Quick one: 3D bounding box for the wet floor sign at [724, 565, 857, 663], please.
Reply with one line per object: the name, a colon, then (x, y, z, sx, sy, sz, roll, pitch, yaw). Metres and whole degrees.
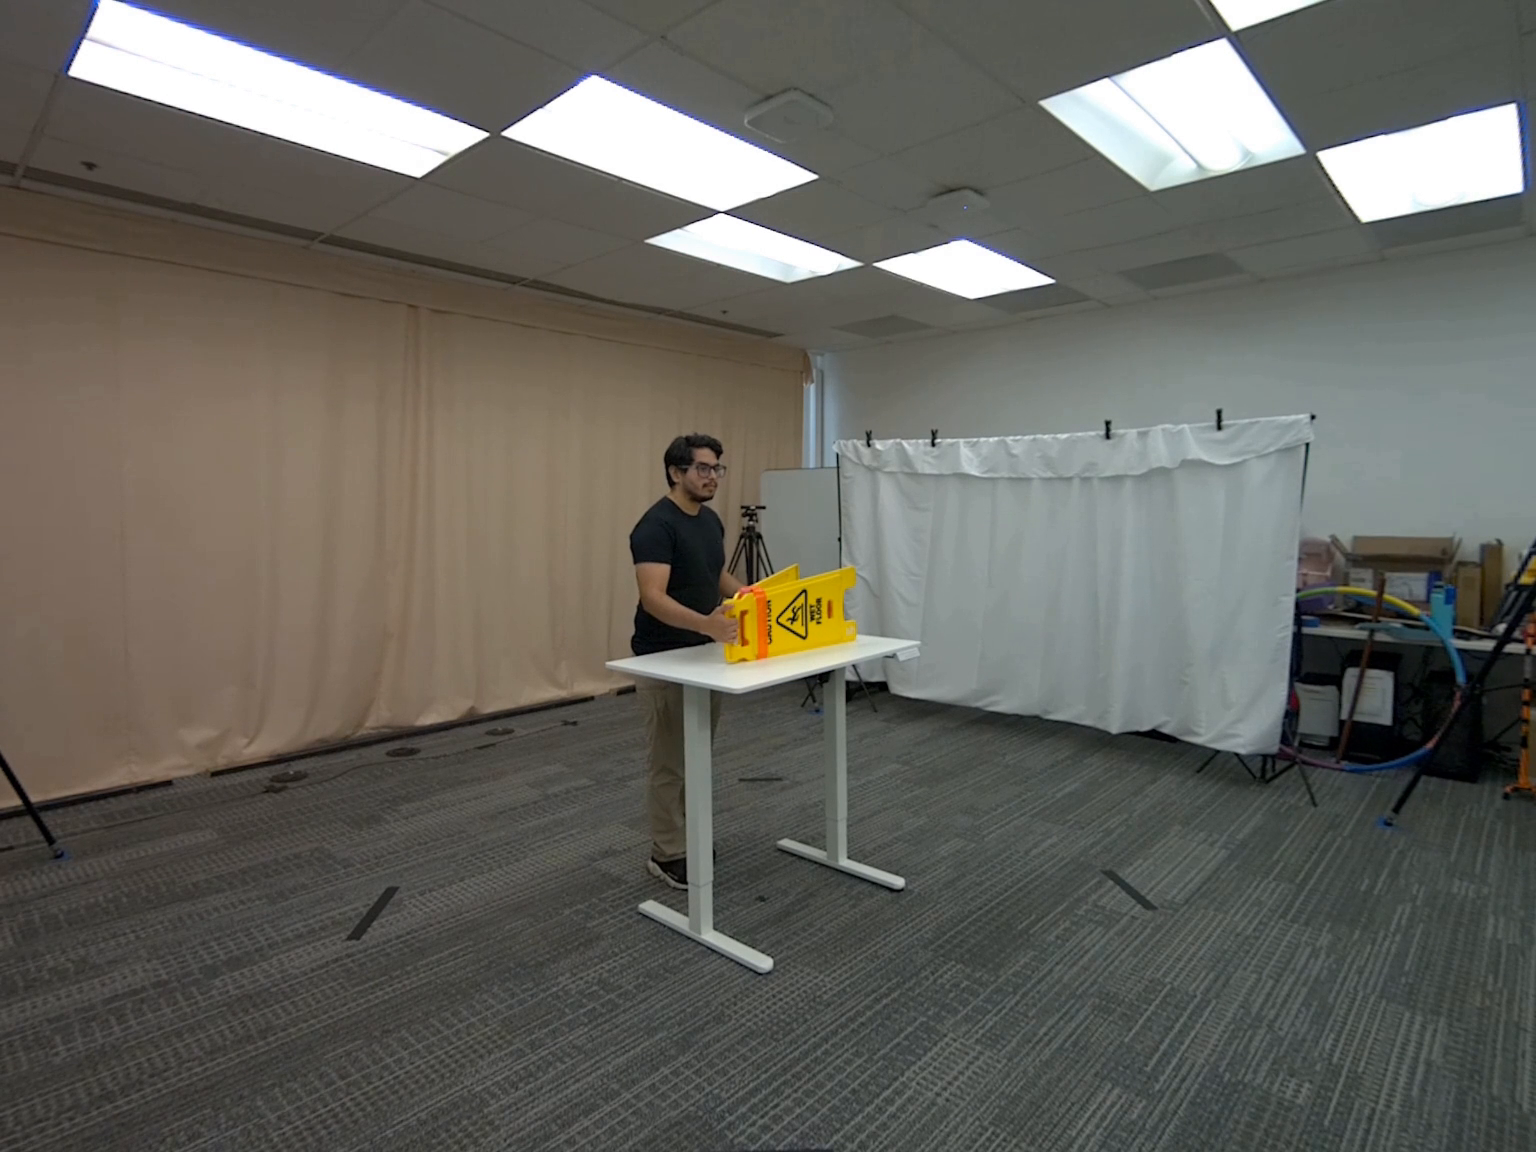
wet floor sign: (0.047, 0.139, 2.952, 0.299, 0.281, 0.629, 2, 9, 34)
